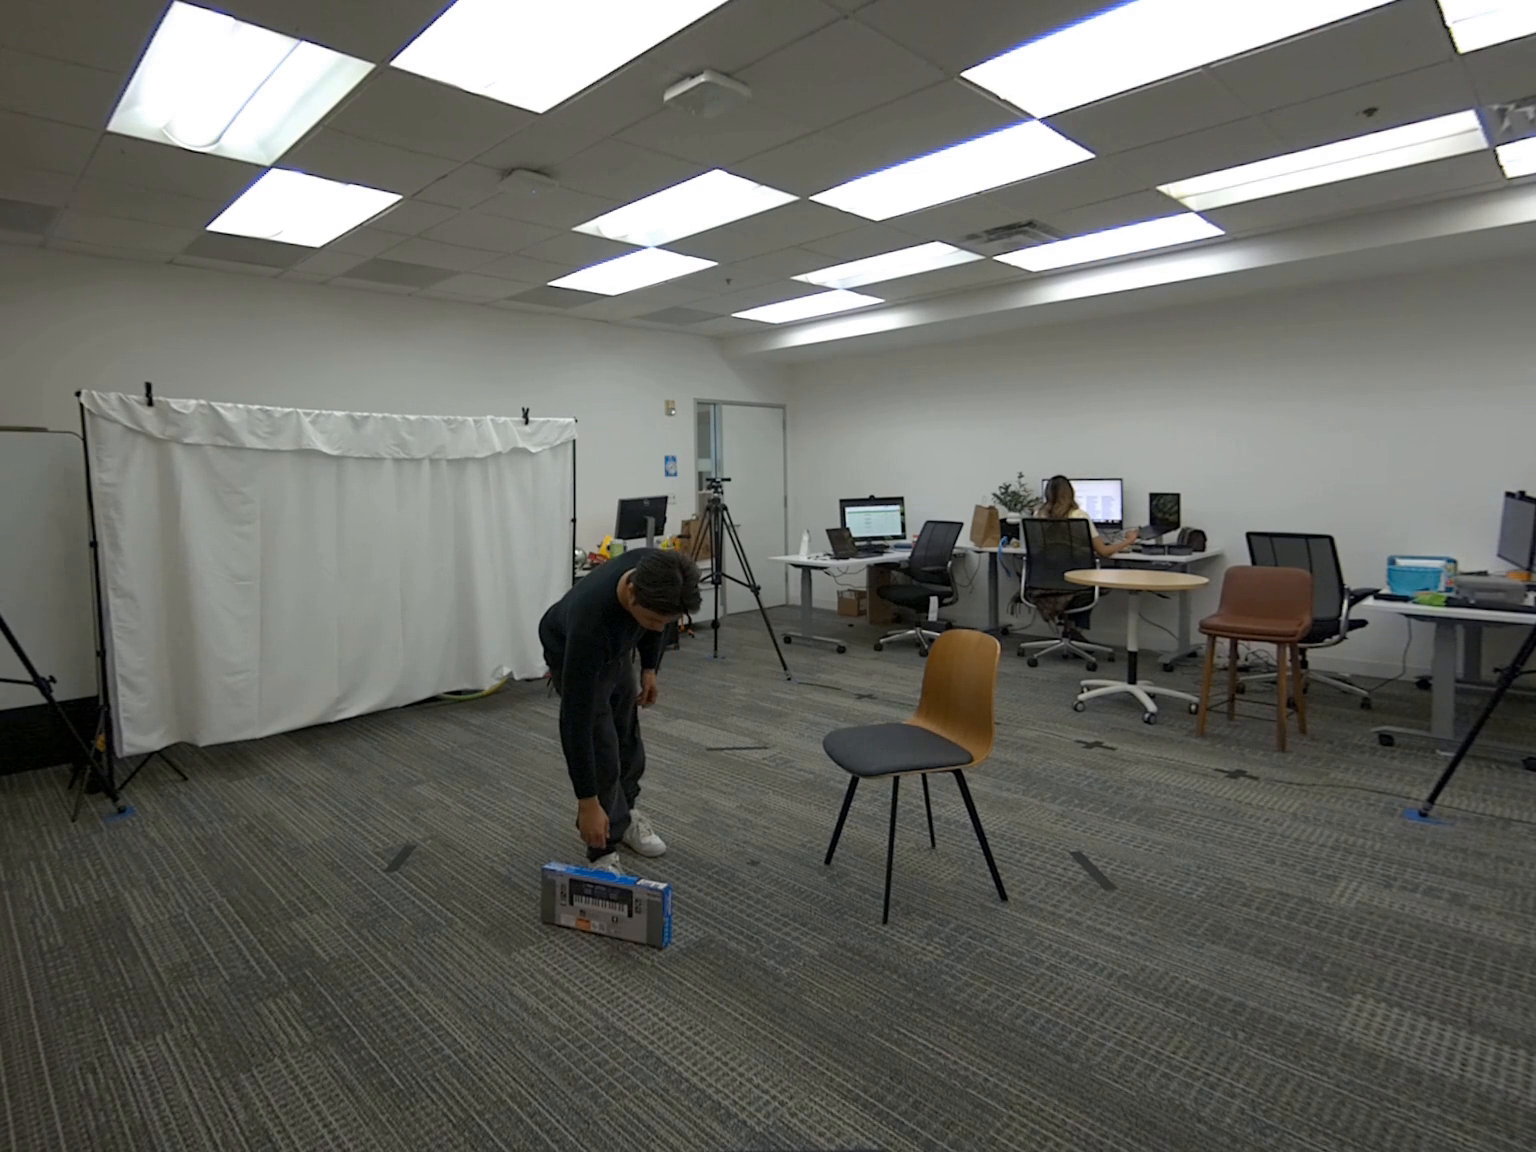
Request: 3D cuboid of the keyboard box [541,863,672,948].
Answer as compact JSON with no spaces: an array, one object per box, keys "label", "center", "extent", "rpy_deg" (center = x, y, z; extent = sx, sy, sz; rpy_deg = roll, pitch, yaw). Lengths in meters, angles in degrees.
[{"label":"keyboard box","center":[-0.505,1.017,2.648],"extent":[0.445,0.176,0.058],"rpy_deg":[1,-1,21]}]
